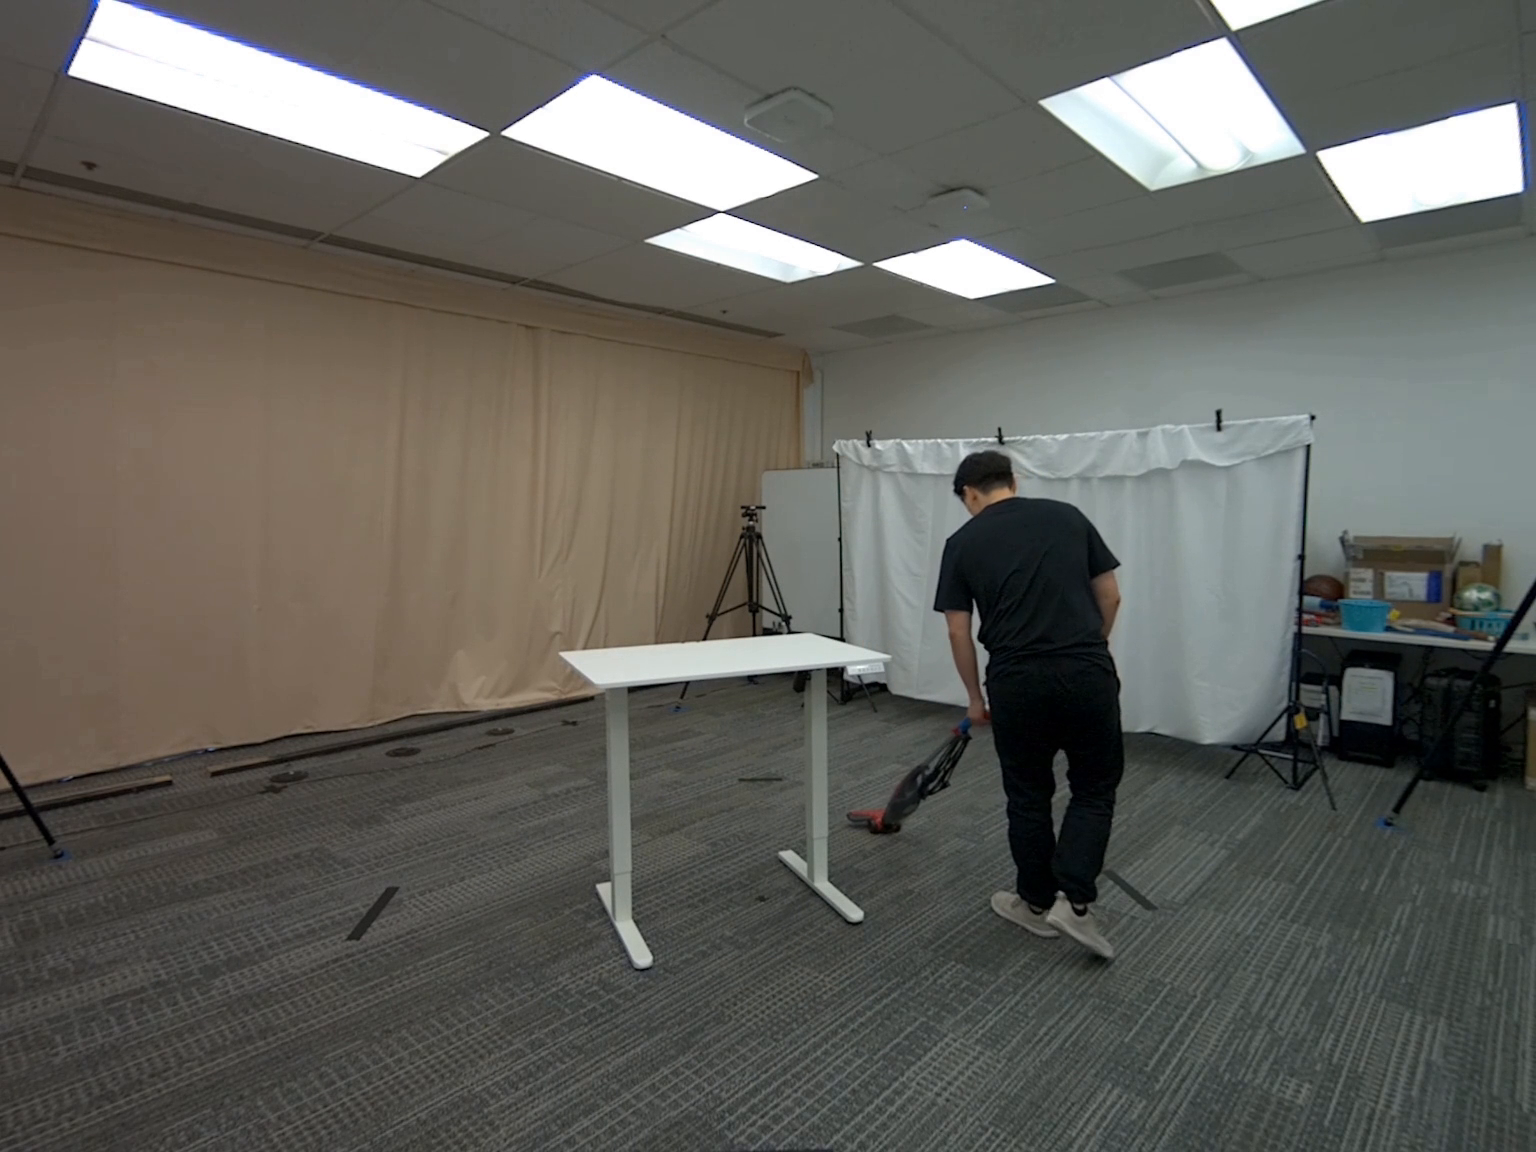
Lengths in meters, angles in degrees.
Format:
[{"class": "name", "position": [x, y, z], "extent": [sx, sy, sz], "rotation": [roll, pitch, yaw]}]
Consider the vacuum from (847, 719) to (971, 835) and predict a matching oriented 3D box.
[{"class": "vacuum", "position": [0.616, 0.771, 3.237], "extent": [0.248, 0.147, 1.043], "rotation": [-1, -34, -19]}]
